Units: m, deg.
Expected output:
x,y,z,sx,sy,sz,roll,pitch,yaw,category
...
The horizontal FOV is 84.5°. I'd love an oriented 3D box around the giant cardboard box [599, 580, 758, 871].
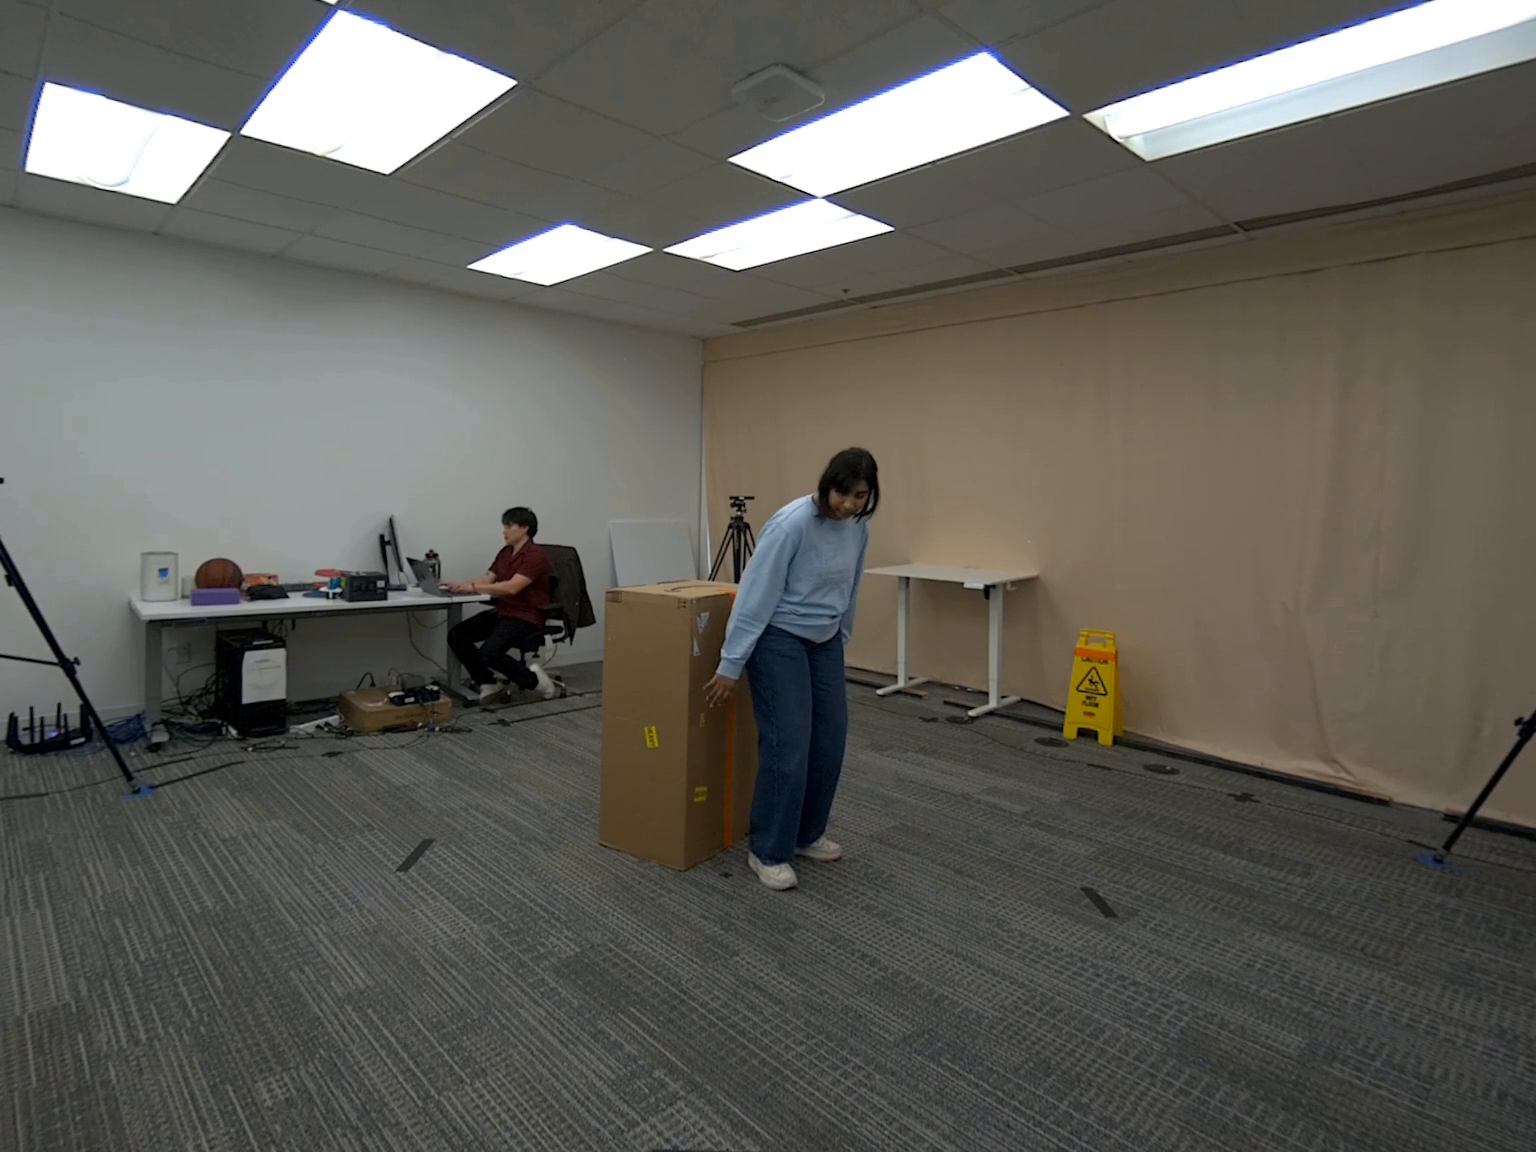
x,y,z,sx,sy,sz,roll,pitch,yaw,category
-0.336,0.558,3.455,0.436,1.023,0.565,4,4,32,giant cardboard box
